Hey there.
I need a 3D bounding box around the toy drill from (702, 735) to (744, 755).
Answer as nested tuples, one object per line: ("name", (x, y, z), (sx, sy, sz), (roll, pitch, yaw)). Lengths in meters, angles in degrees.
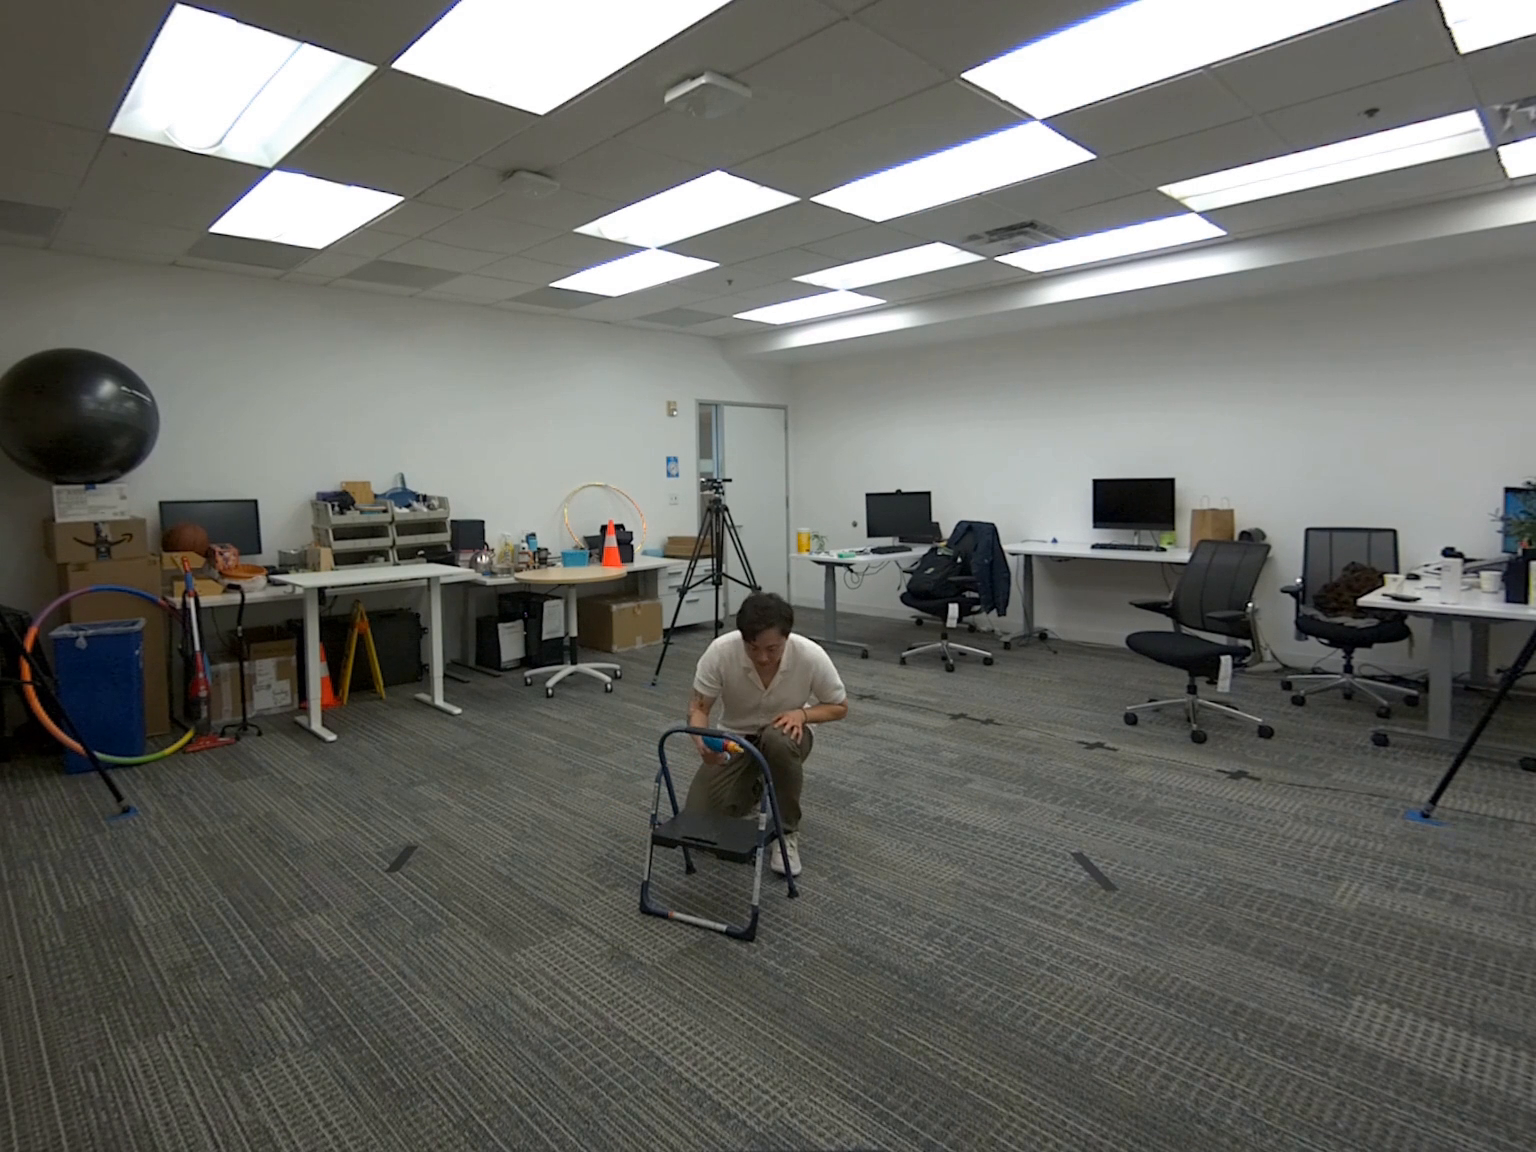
("toy drill", (-0.165, 0.616, 3.007), (0.172, 0.062, 0.142), (16, -24, 10))
